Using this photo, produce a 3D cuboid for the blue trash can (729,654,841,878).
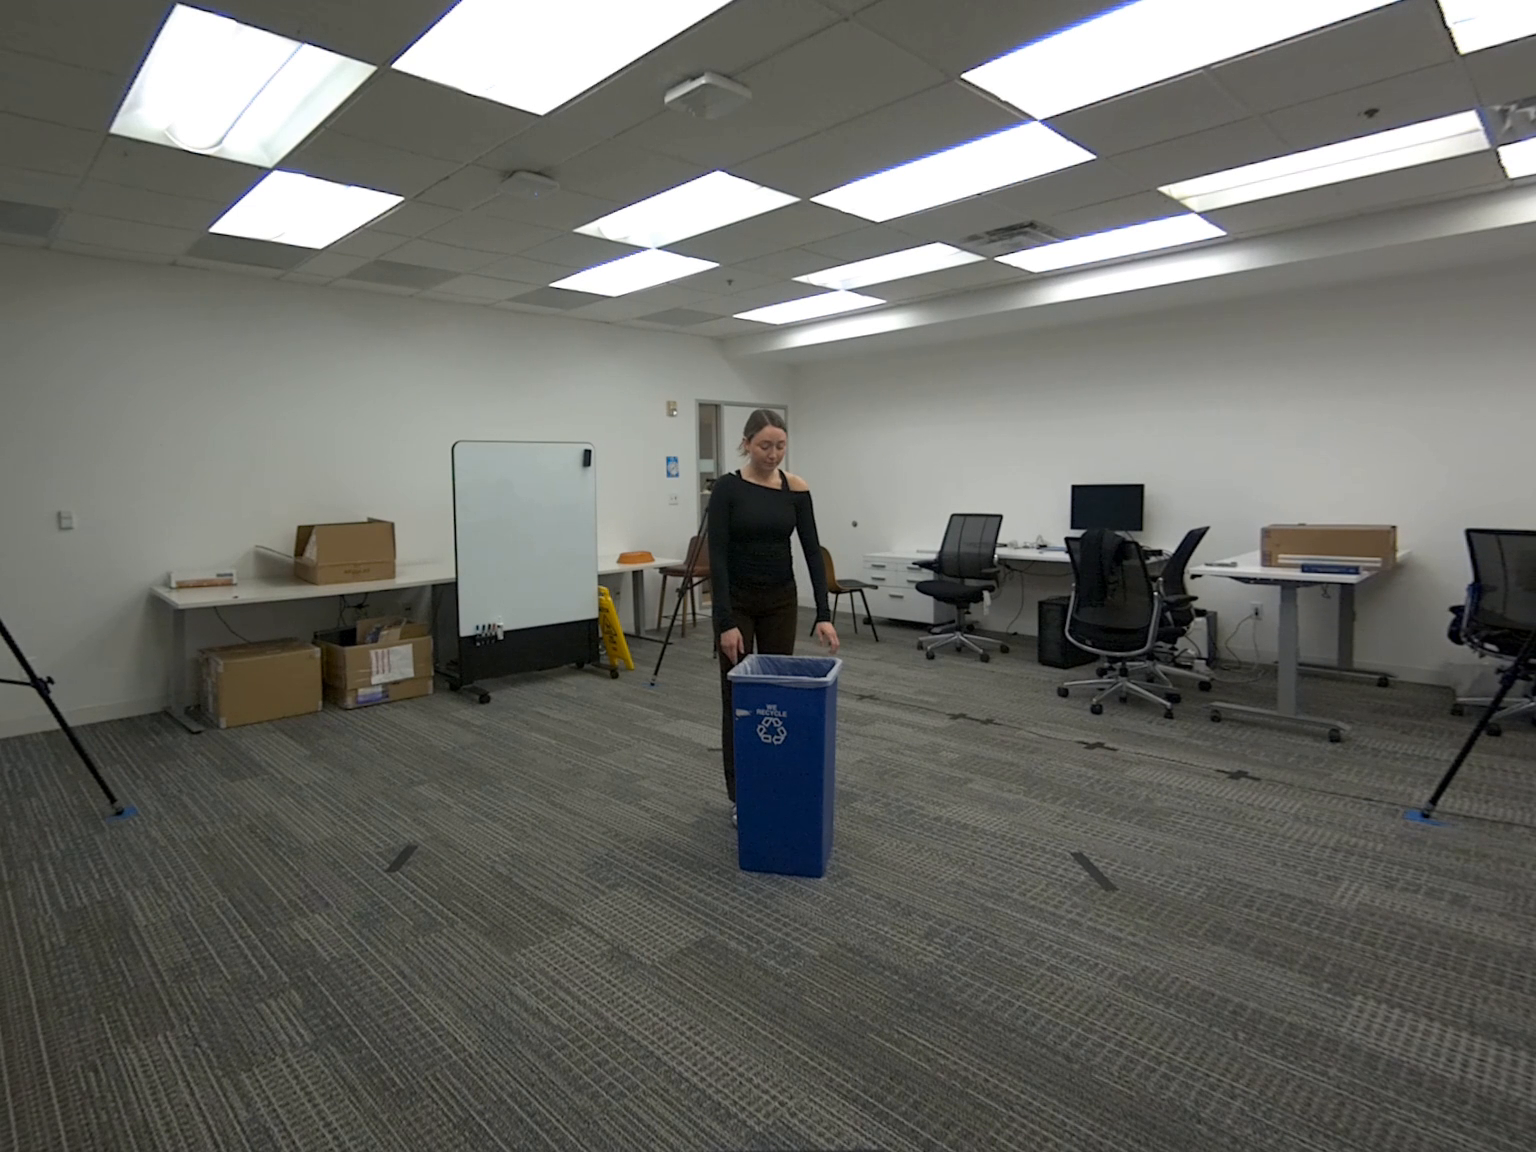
[{"bbox_3d":[0.076,0.682,3.138,0.379,0.711,0.374,0,4,13],"label":"blue trash can"}]
